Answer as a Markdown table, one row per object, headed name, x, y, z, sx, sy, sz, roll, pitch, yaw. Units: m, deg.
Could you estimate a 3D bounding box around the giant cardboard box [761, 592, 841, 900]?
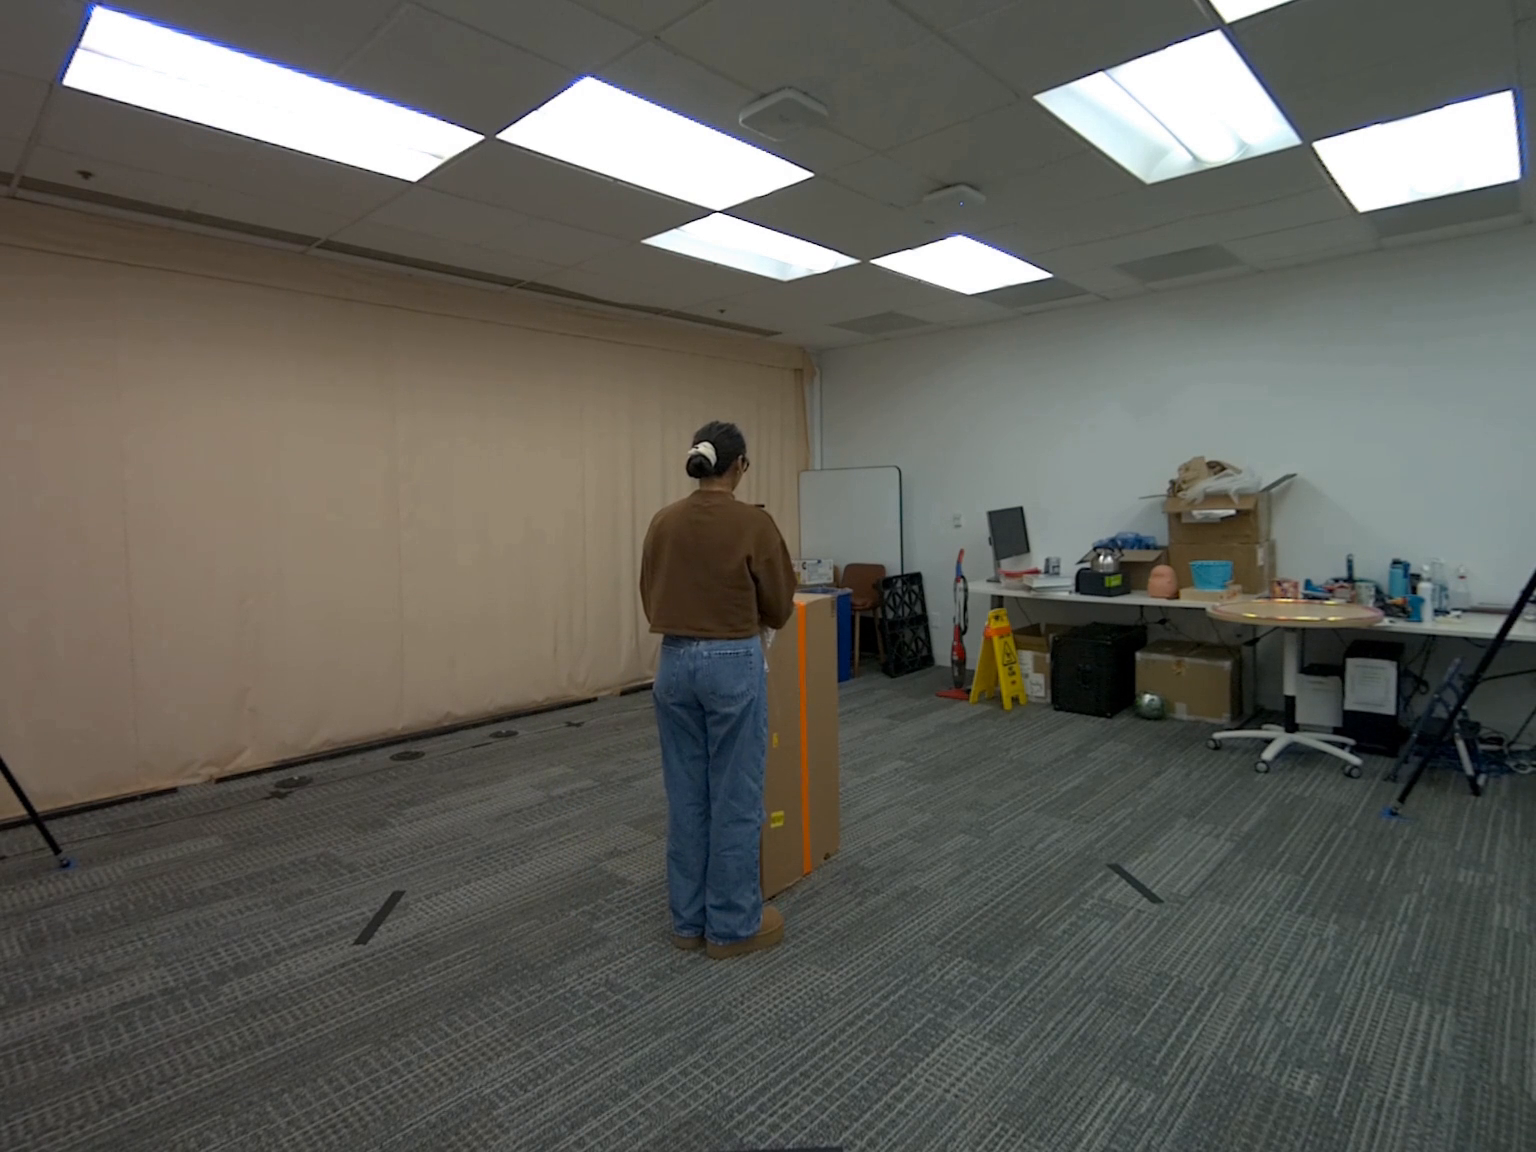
| name | x | y | z | sx | sy | sz | roll | pitch | yaw |
| --- | --- | --- | --- | --- | --- | --- | --- | --- | --- |
| giant cardboard box | -0.040 | 0.605 | 3.271 | 0.439 | 1.024 | 0.561 | 1 | 4 | 35 |
